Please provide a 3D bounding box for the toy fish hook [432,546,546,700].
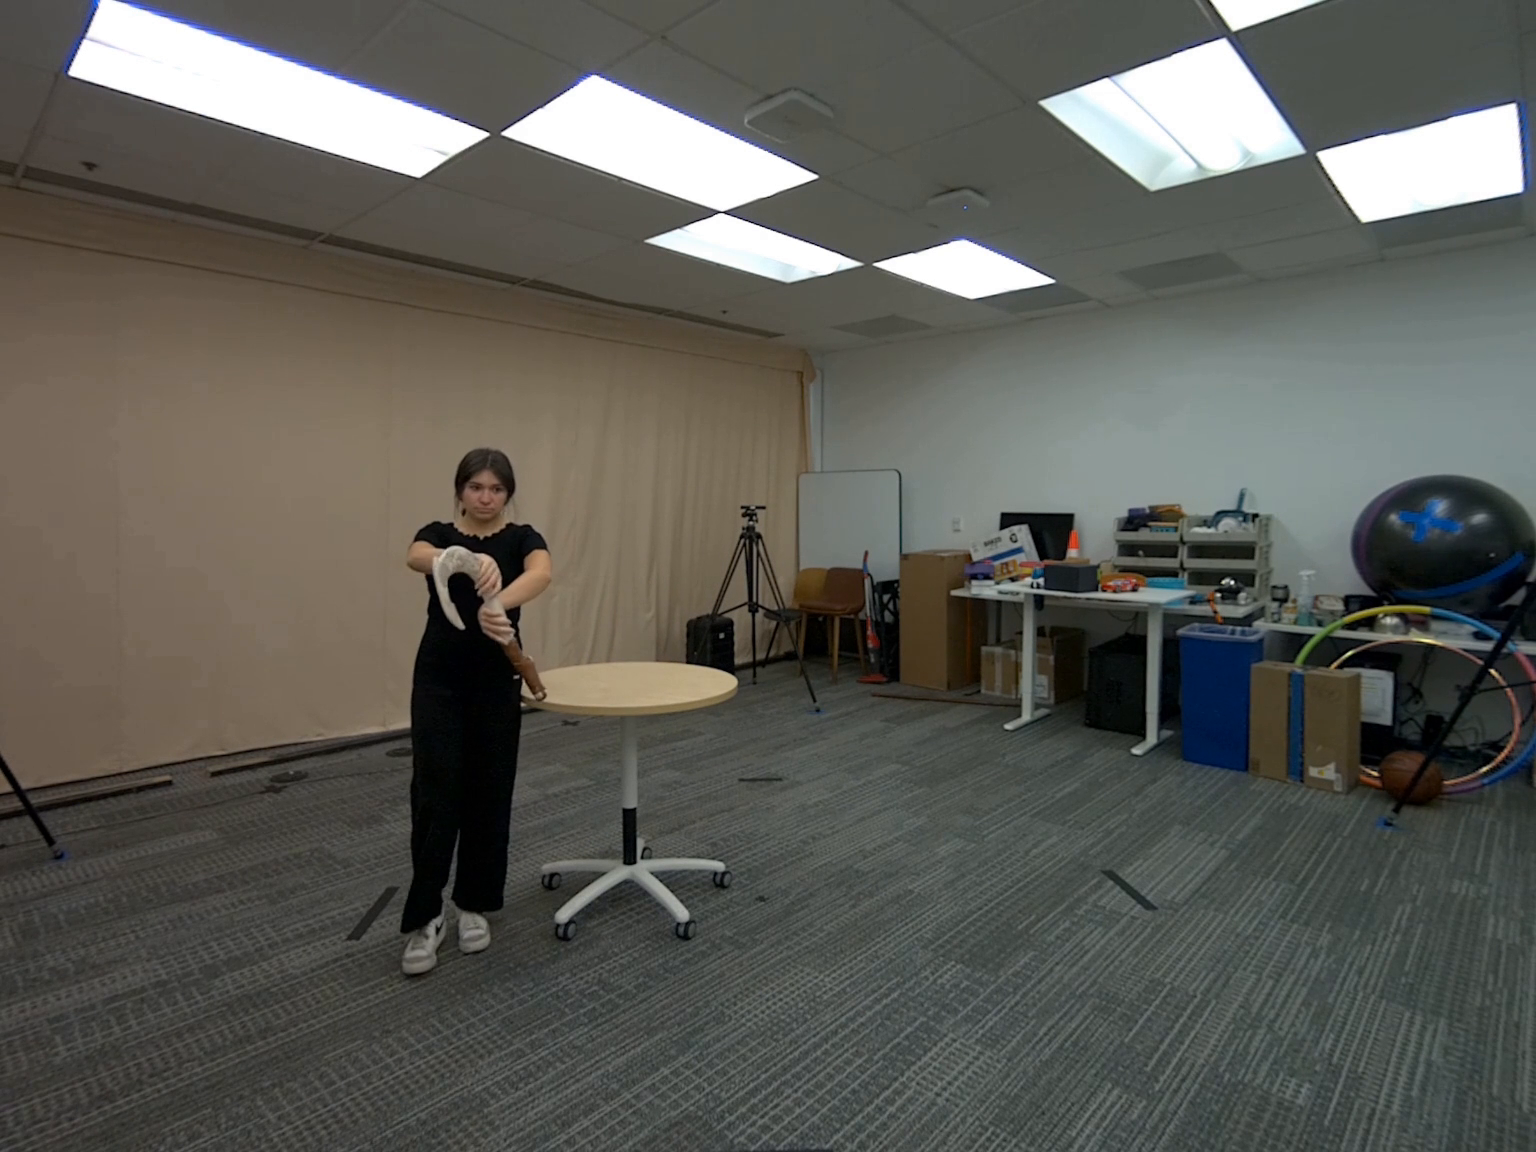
[{"bbox_3d":[-0.751,0.159,2.289,0.049,0.499,0.224,-20,17,21],"label":"toy fish hook"}]
